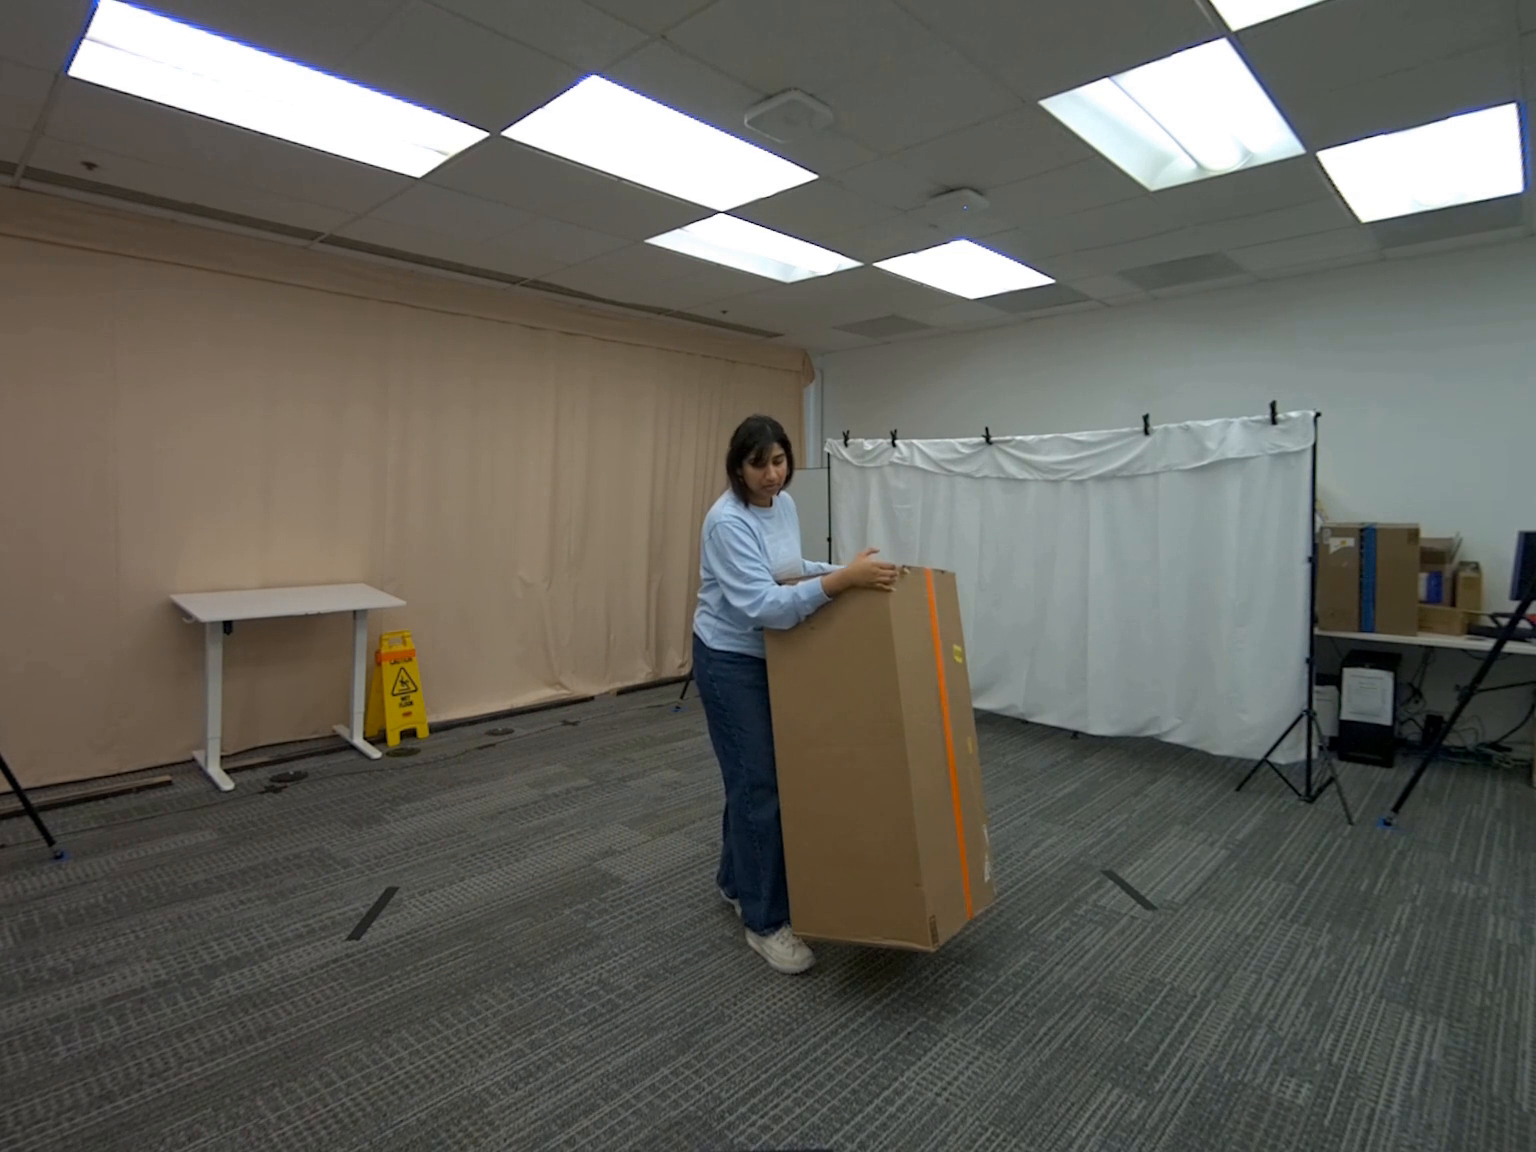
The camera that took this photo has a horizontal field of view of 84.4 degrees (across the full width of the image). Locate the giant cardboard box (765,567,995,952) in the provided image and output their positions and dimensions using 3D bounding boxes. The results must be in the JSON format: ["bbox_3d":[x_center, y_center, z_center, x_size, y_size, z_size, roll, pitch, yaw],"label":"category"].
[{"bbox_3d":[0.357,0.513,2.583,0.459,1.033,0.565,-10,-9,34],"label":"giant cardboard box"}]
